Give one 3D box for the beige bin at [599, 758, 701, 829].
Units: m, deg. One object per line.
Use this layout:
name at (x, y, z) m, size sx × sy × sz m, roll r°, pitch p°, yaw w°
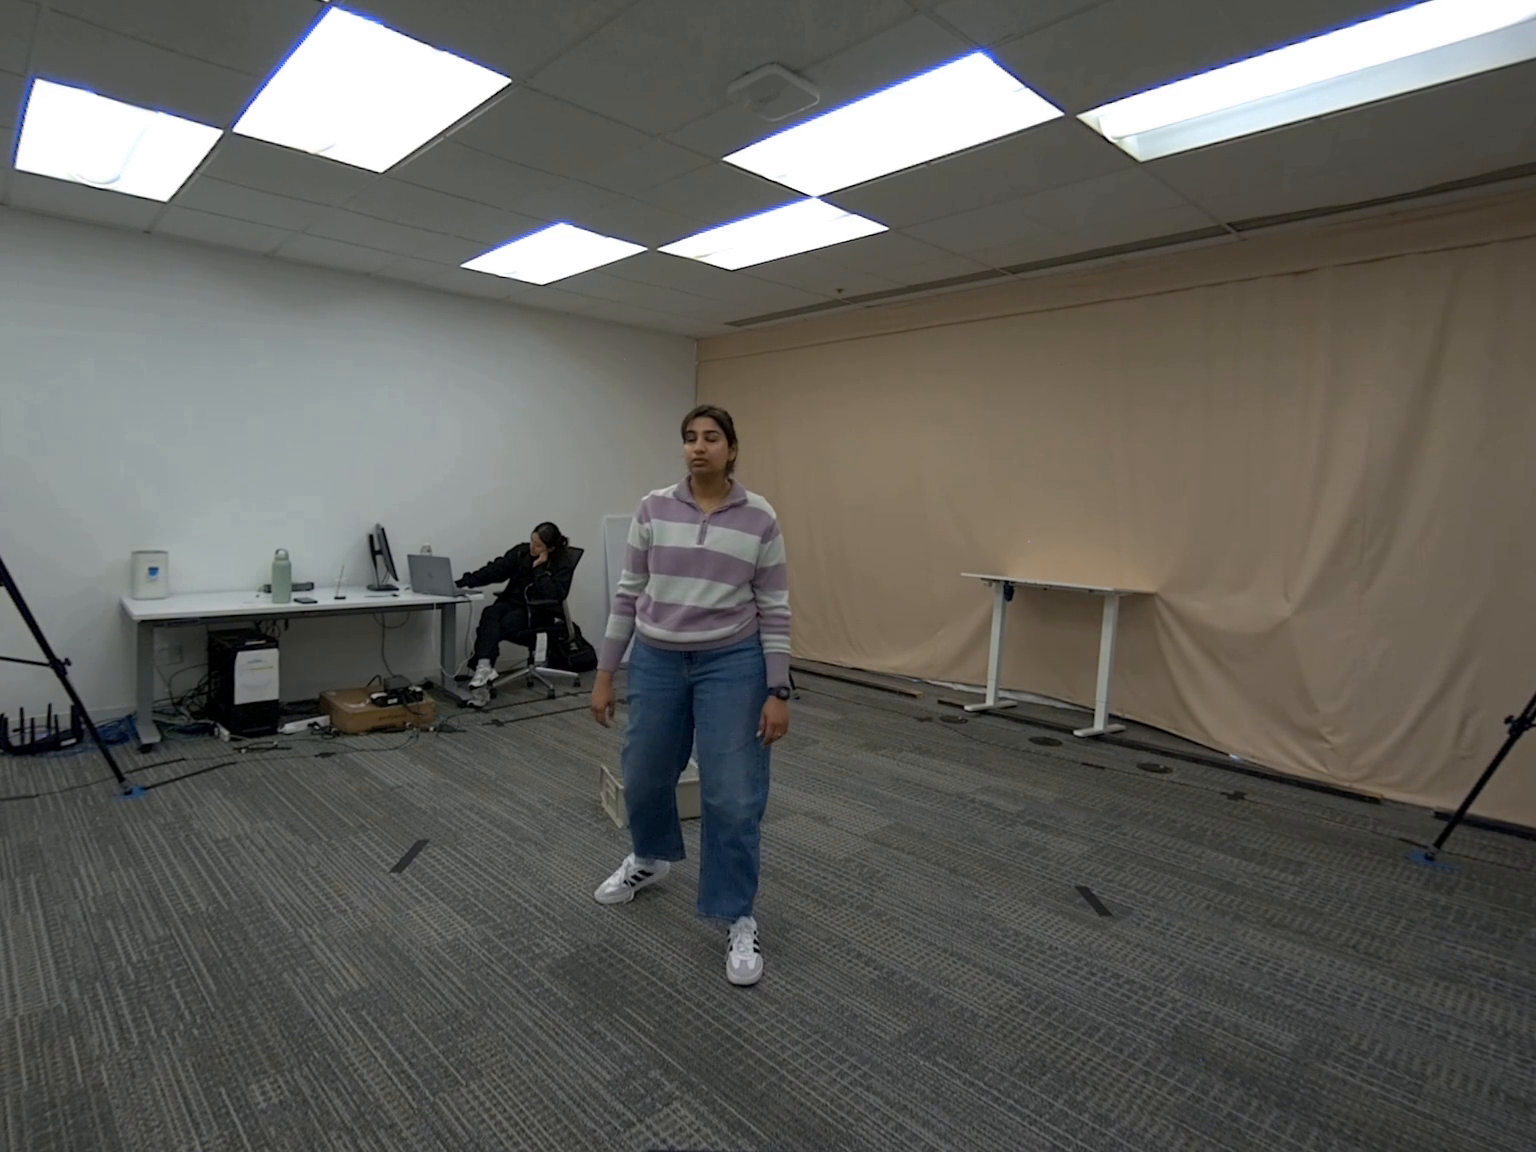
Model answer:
beige bin at (-0.513, 0.954, 3.751) m, size 0.415 × 0.188 × 0.385 m, roll 0°, pitch 7°, yaw -25°
